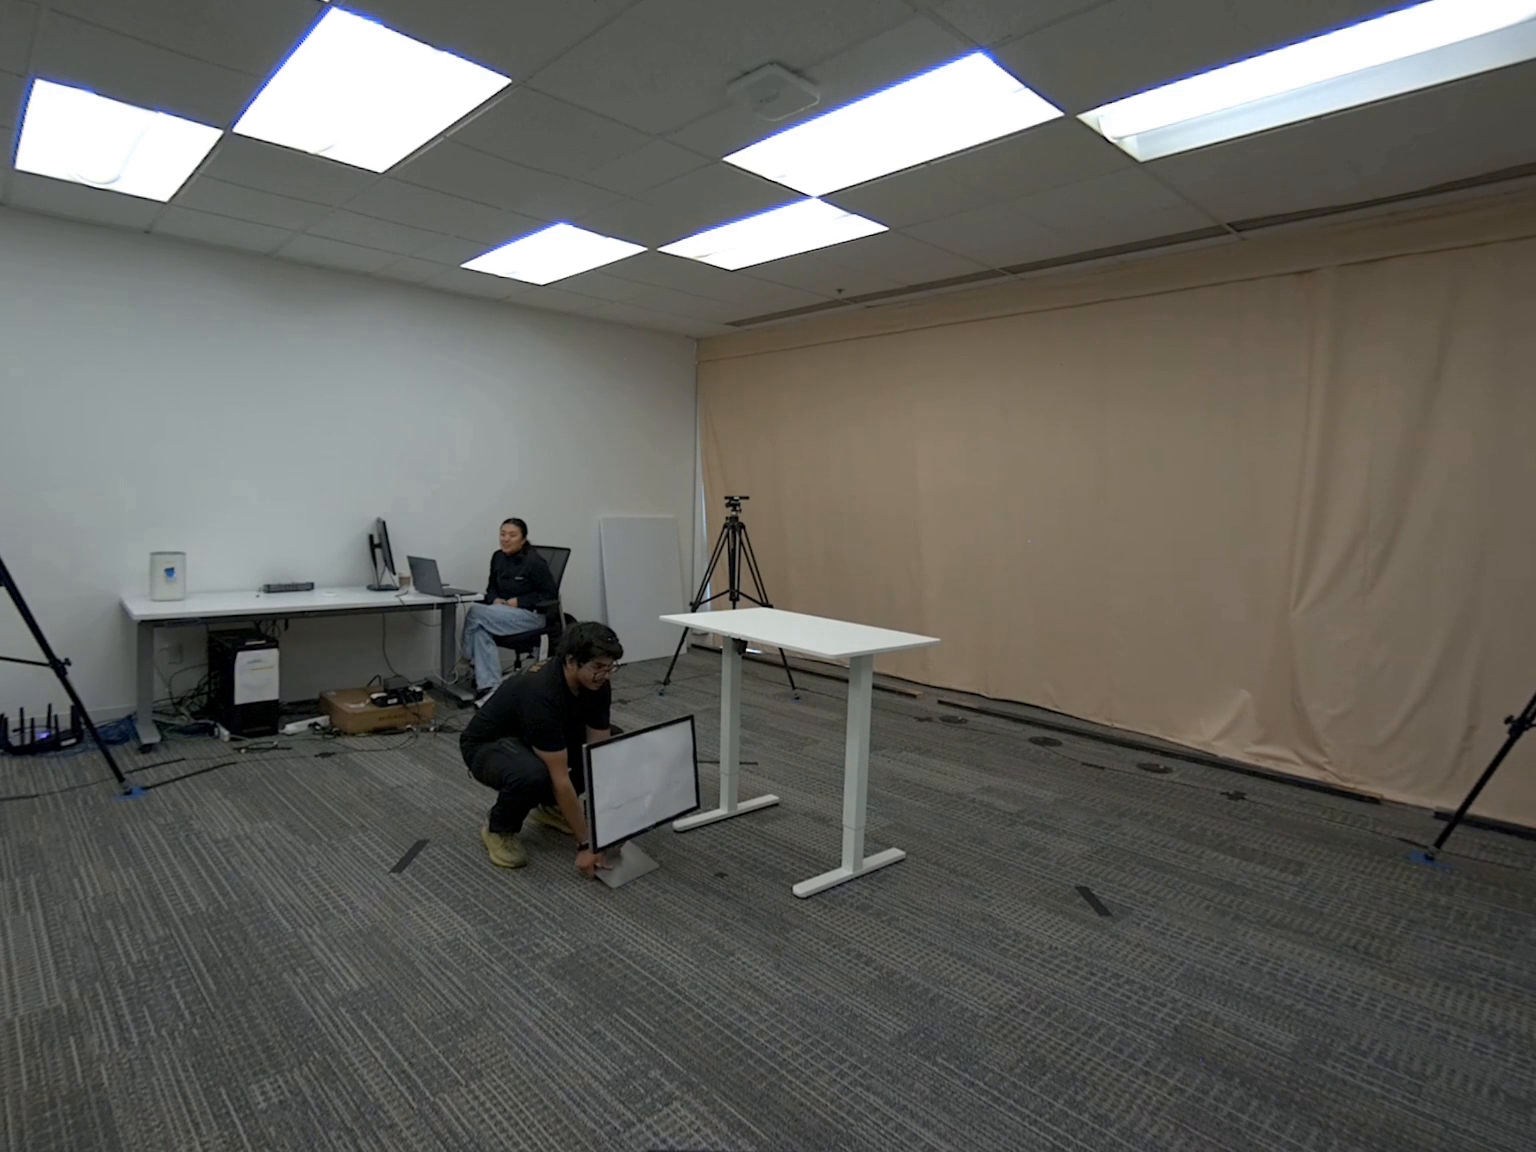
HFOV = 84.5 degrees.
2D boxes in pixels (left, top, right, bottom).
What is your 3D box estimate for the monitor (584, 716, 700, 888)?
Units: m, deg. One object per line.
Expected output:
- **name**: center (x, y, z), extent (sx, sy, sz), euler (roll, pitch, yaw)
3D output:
- **monitor**: center (-0.516, 0.815, 3.067), extent (0.215, 0.552, 0.553), euler (7, 7, 37)
